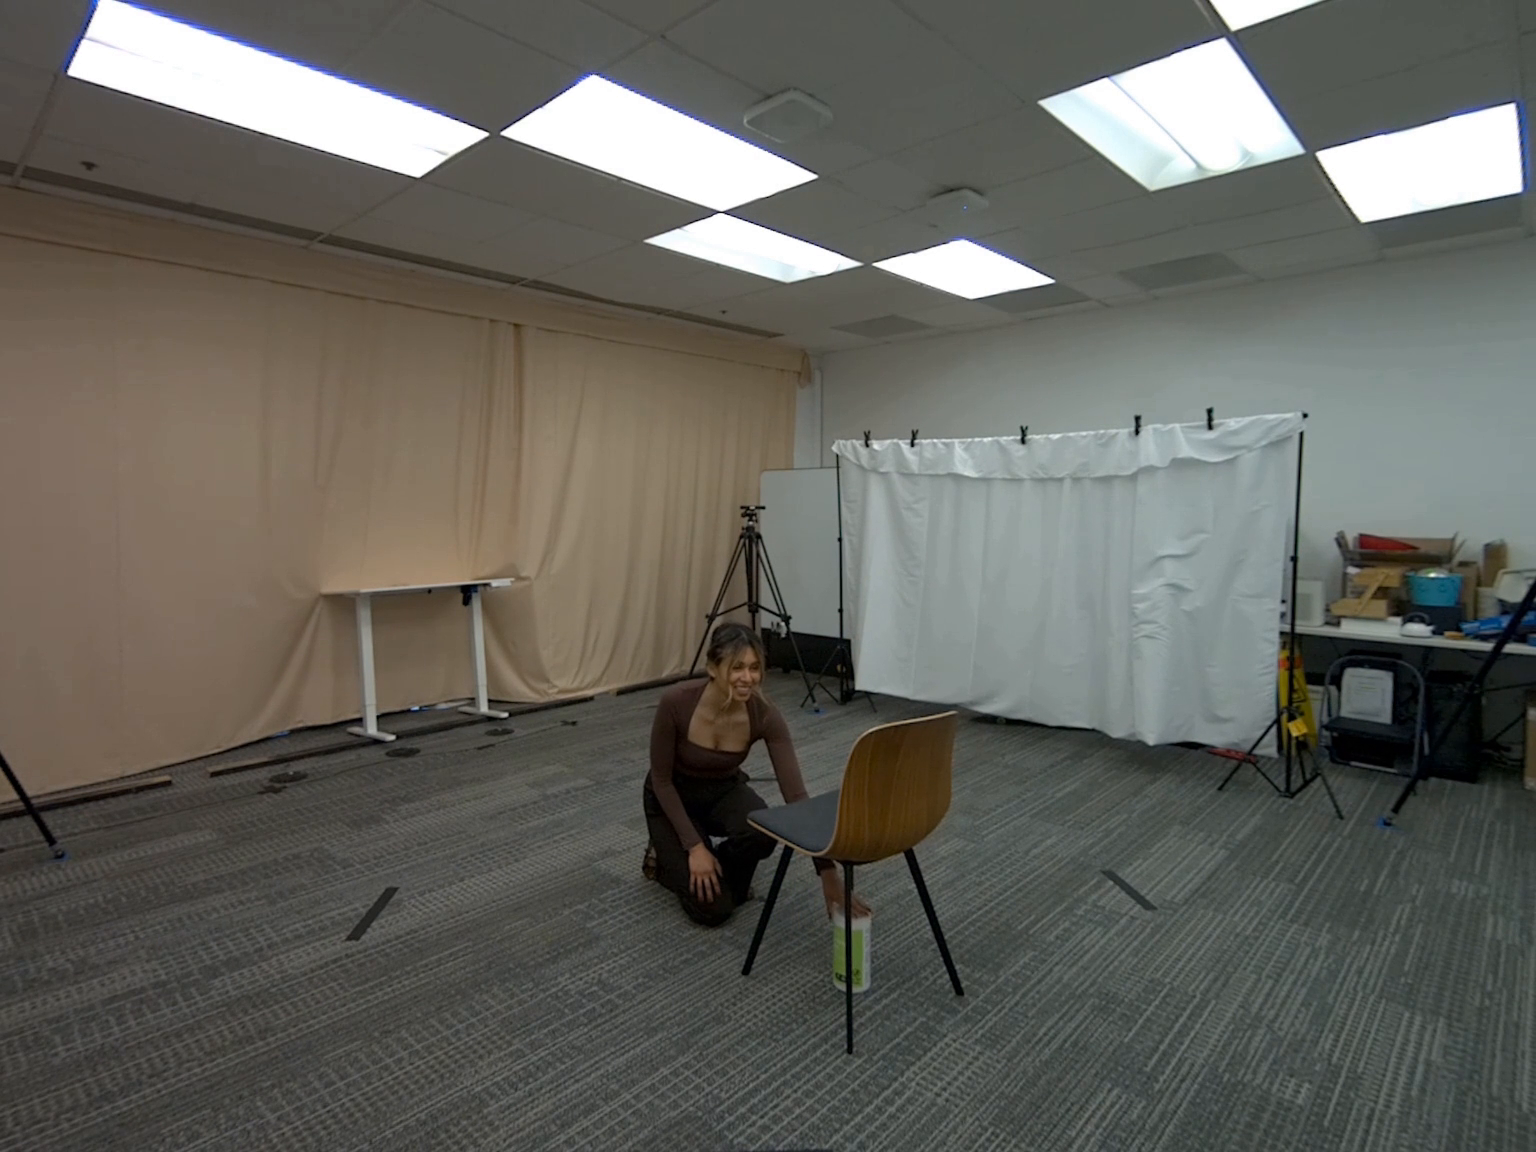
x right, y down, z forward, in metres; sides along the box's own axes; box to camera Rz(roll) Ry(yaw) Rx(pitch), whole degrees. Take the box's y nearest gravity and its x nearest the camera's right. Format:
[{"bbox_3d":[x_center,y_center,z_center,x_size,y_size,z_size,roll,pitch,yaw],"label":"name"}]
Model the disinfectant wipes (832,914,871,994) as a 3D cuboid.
[{"bbox_3d":[0.246,1.093,2.438,0.118,0.217,0.118,1,2,-2],"label":"disinfectant wipes"}]
